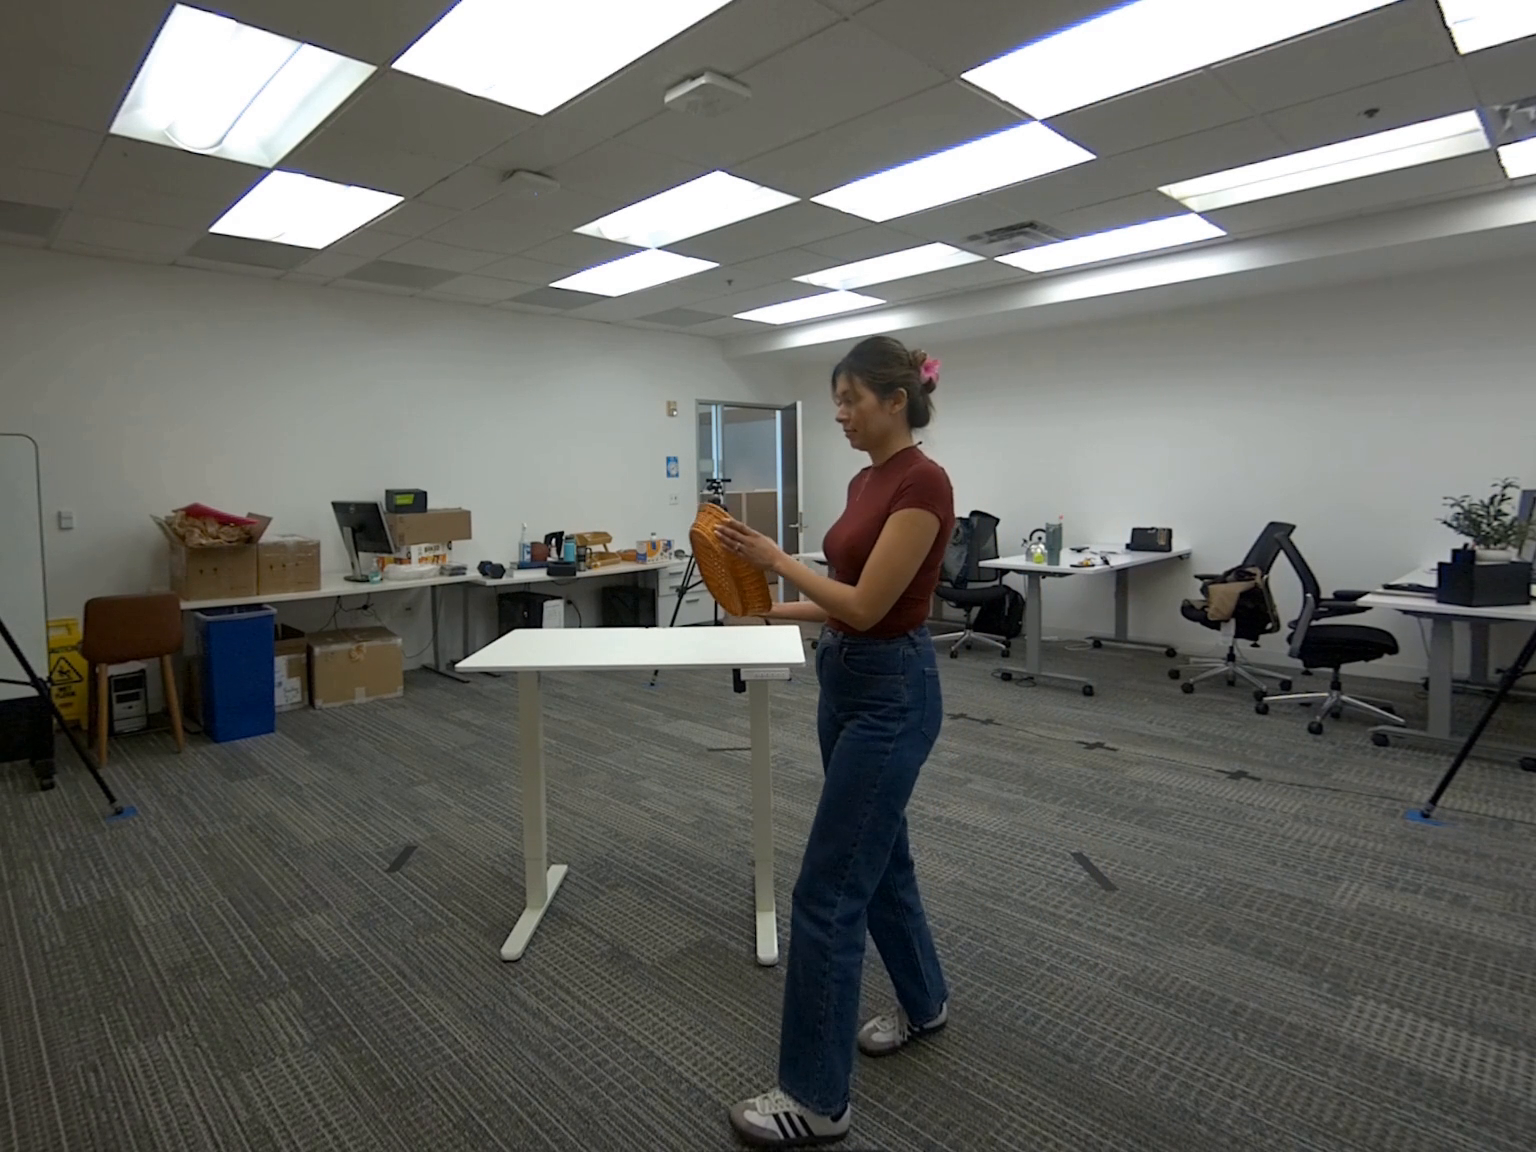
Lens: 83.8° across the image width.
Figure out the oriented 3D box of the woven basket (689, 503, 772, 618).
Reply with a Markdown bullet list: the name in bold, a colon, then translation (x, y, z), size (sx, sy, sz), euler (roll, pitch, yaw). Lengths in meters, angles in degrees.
- **woven basket**: translation (-0.101, -0.018, 2.092), size (0.073, 0.338, 0.262), euler (-34, 41, -15)
